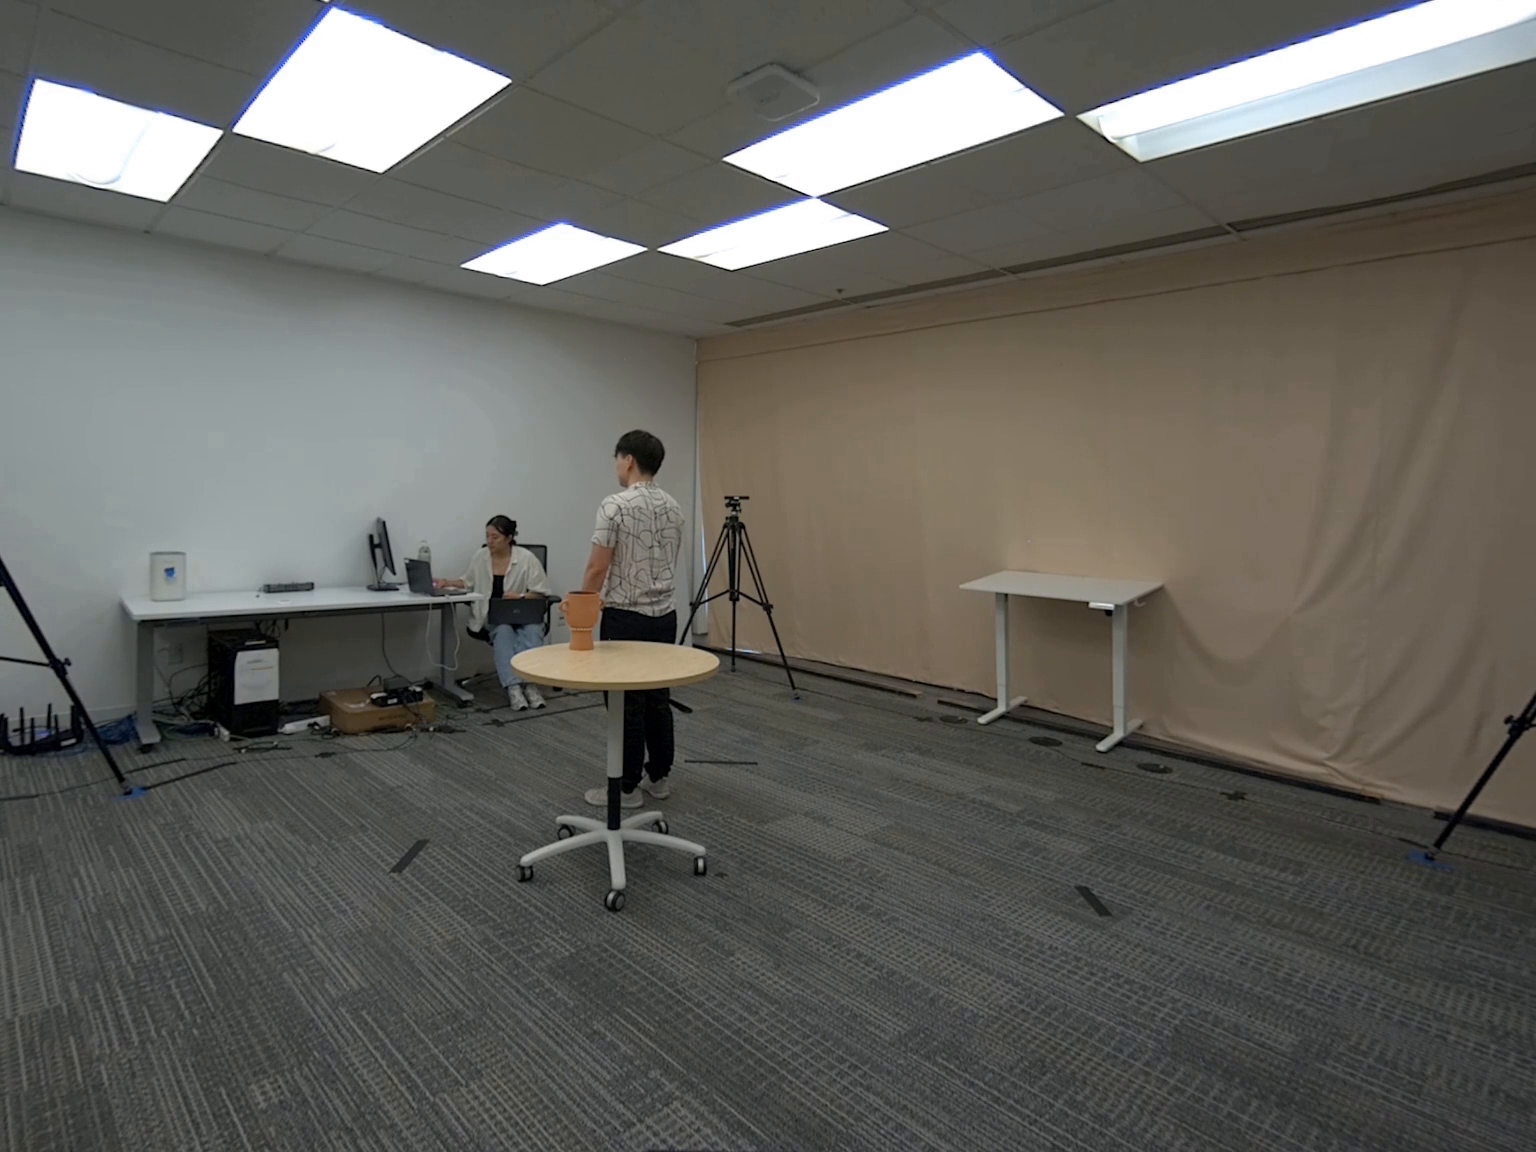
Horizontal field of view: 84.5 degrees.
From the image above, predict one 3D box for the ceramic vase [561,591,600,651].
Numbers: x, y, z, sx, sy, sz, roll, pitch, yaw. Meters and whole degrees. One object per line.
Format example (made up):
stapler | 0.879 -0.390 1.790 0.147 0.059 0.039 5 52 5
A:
ceramic vase | -0.760 0.178 3.320 0.159 0.219 0.135 1 3 1
